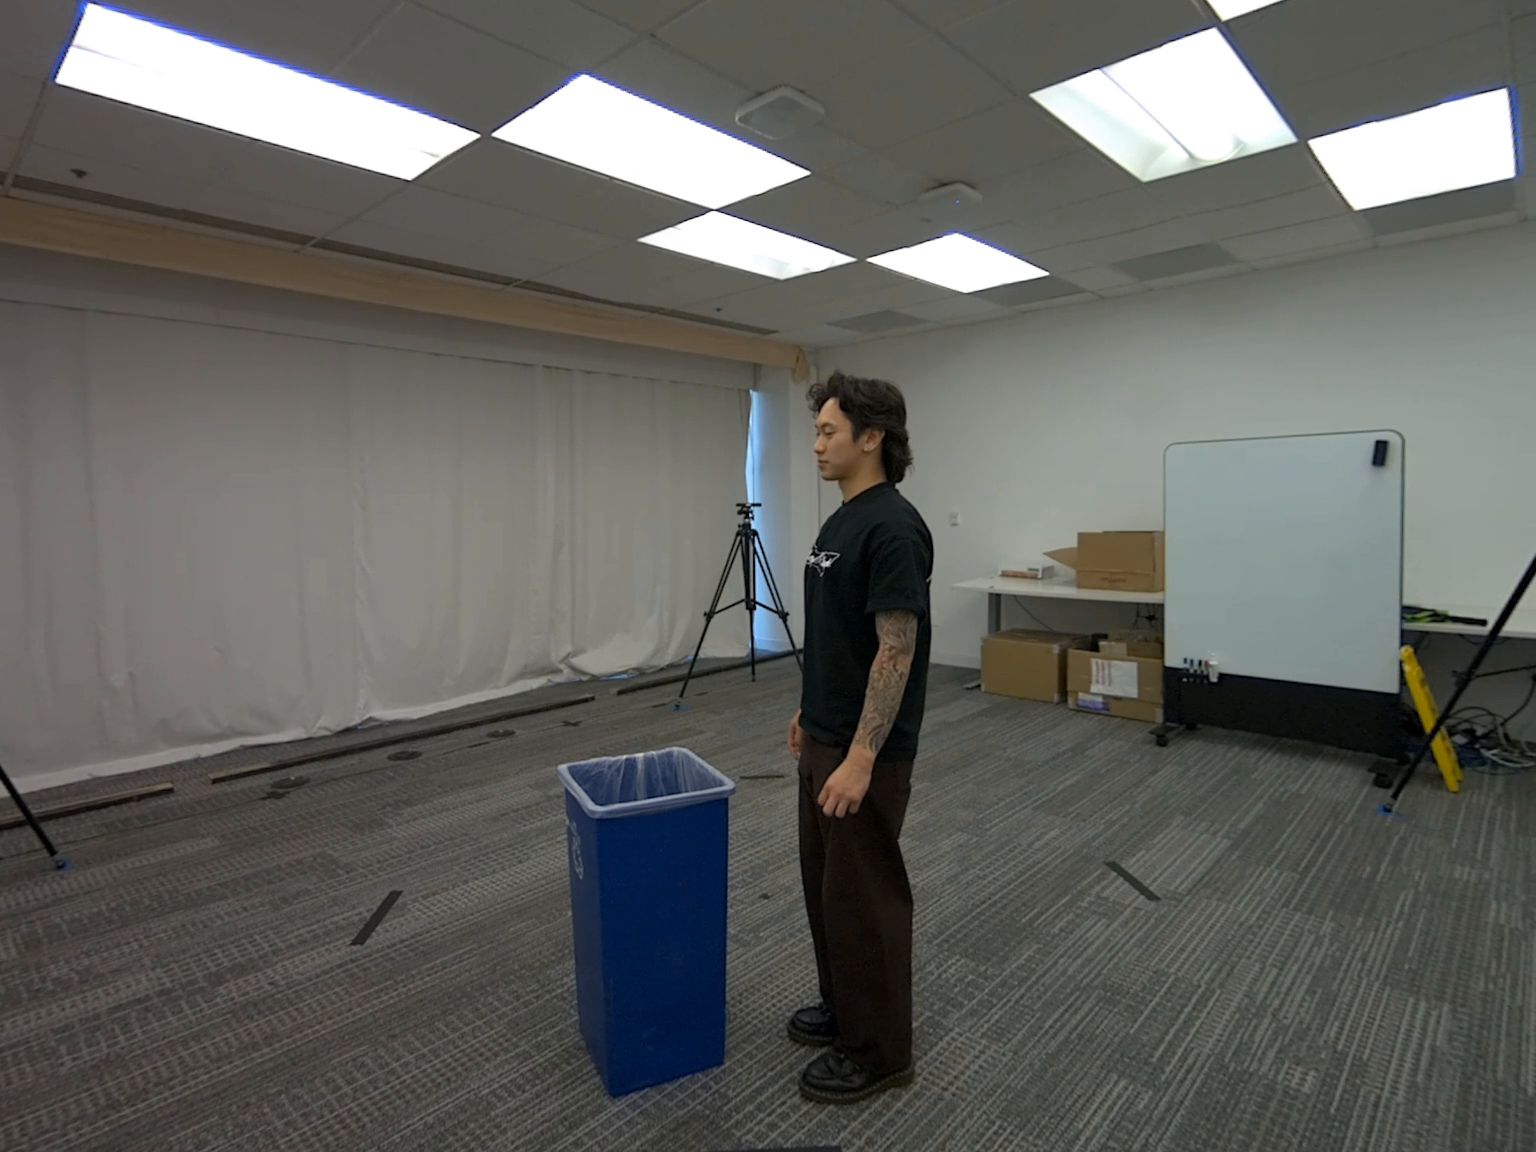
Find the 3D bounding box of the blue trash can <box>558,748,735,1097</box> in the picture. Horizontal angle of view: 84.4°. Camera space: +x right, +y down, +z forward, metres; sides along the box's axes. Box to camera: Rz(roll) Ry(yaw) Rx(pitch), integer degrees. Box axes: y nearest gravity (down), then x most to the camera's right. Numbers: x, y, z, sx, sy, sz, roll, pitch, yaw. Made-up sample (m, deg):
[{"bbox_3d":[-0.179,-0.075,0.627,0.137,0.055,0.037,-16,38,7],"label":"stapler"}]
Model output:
[{"bbox_3d":[-0.299,0.860,2.145,0.369,0.712,0.384,-3,4,-27],"label":"blue trash can"}]
